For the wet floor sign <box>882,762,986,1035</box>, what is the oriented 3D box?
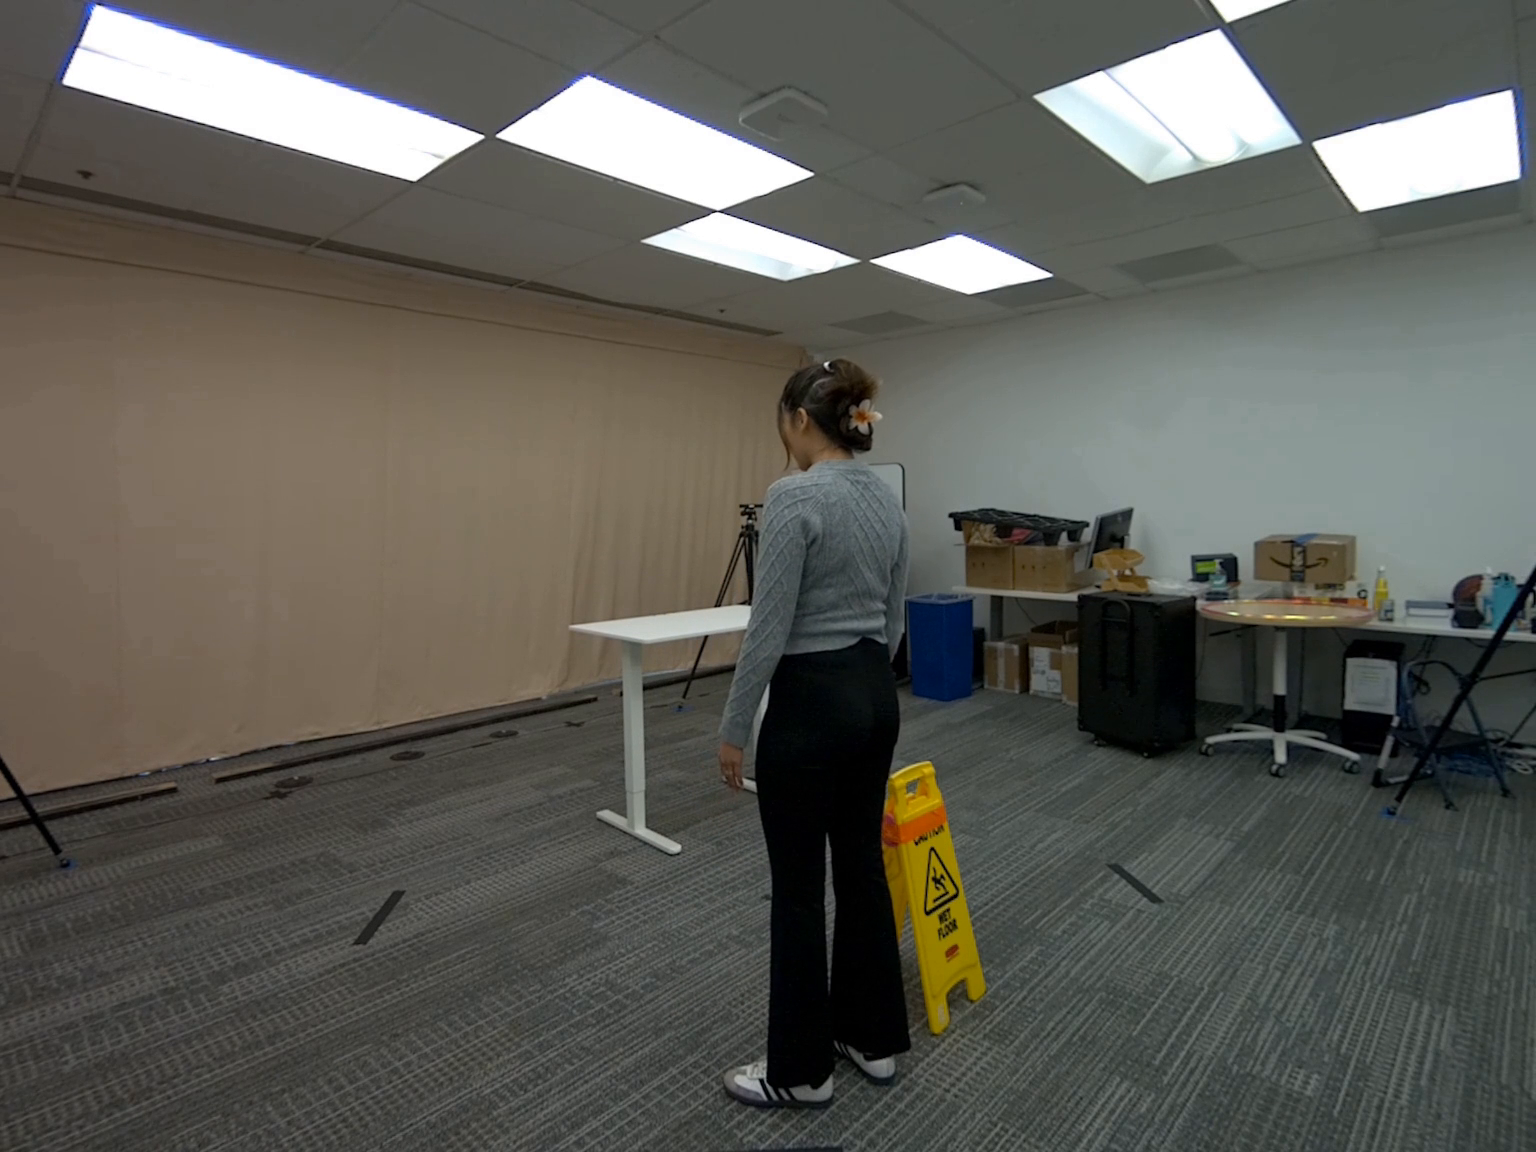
[{"bbox_3d":[0.412,0.866,2.383,0.299,0.645,0.274,2,5,44],"label":"wet floor sign"}]
